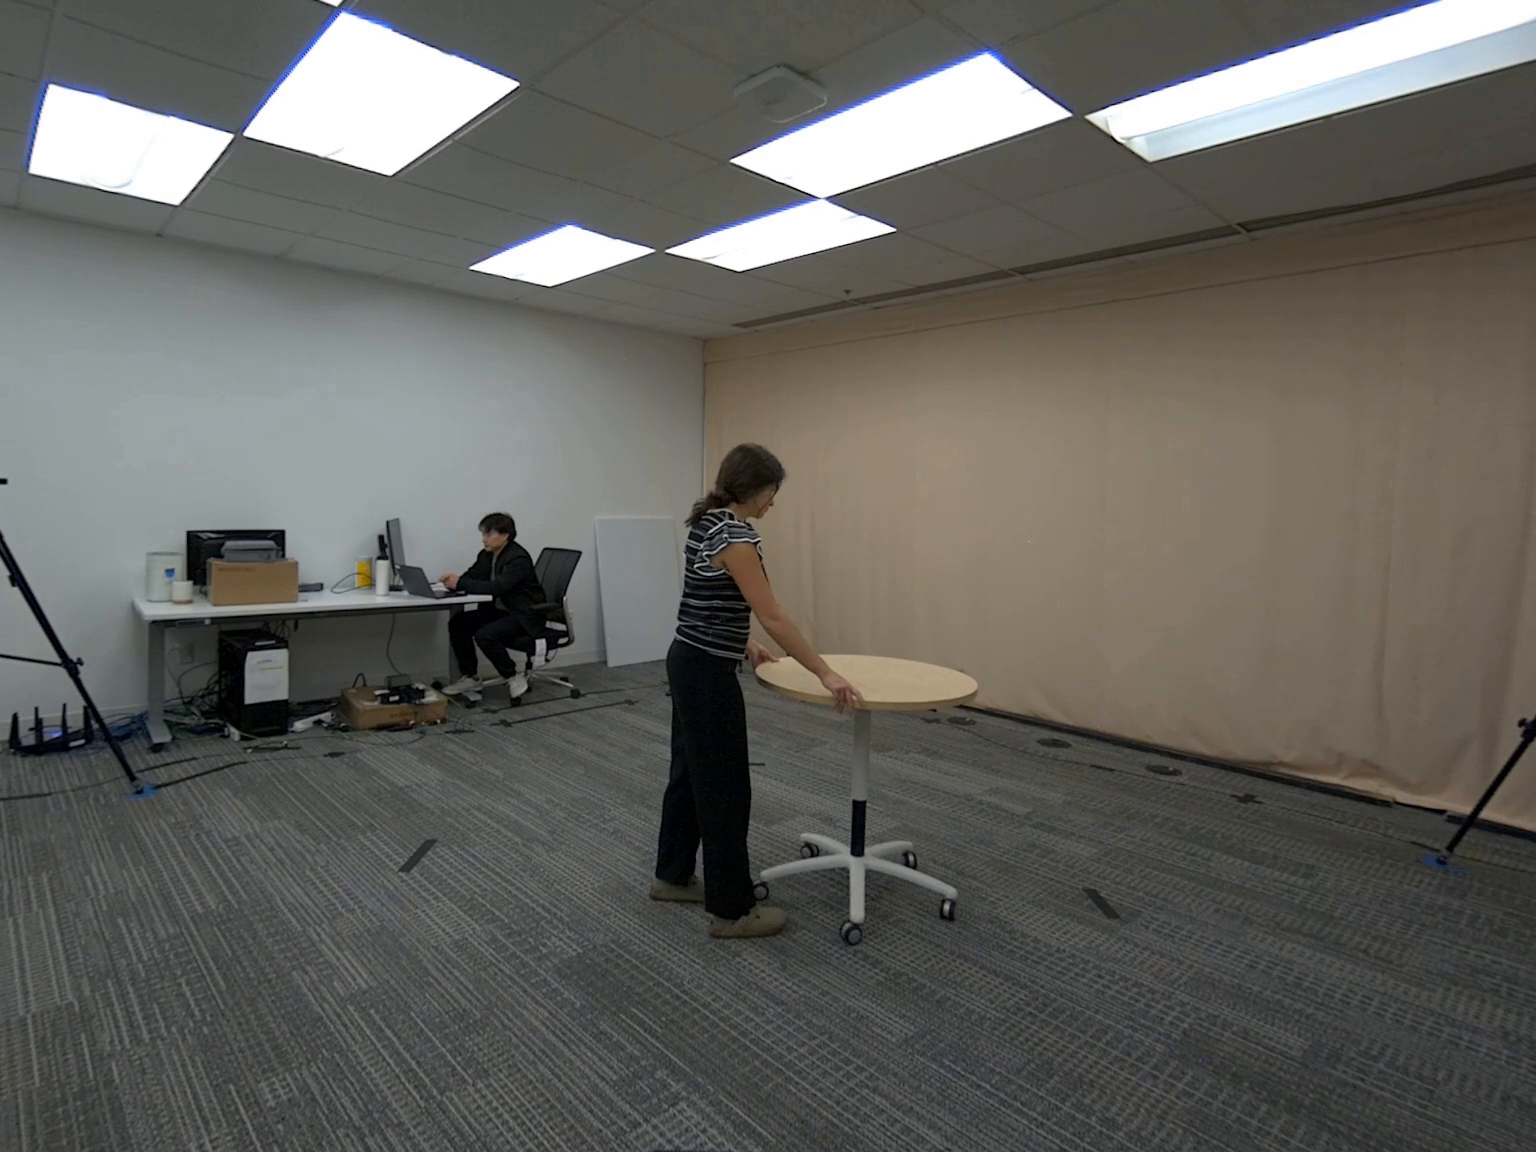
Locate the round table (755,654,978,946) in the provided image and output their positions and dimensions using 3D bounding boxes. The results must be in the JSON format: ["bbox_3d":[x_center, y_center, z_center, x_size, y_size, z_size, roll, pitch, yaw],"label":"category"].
[{"bbox_3d":[0.329,0.733,2.979,0.784,0.784,0.788,2,4,-1],"label":"round table"}]
